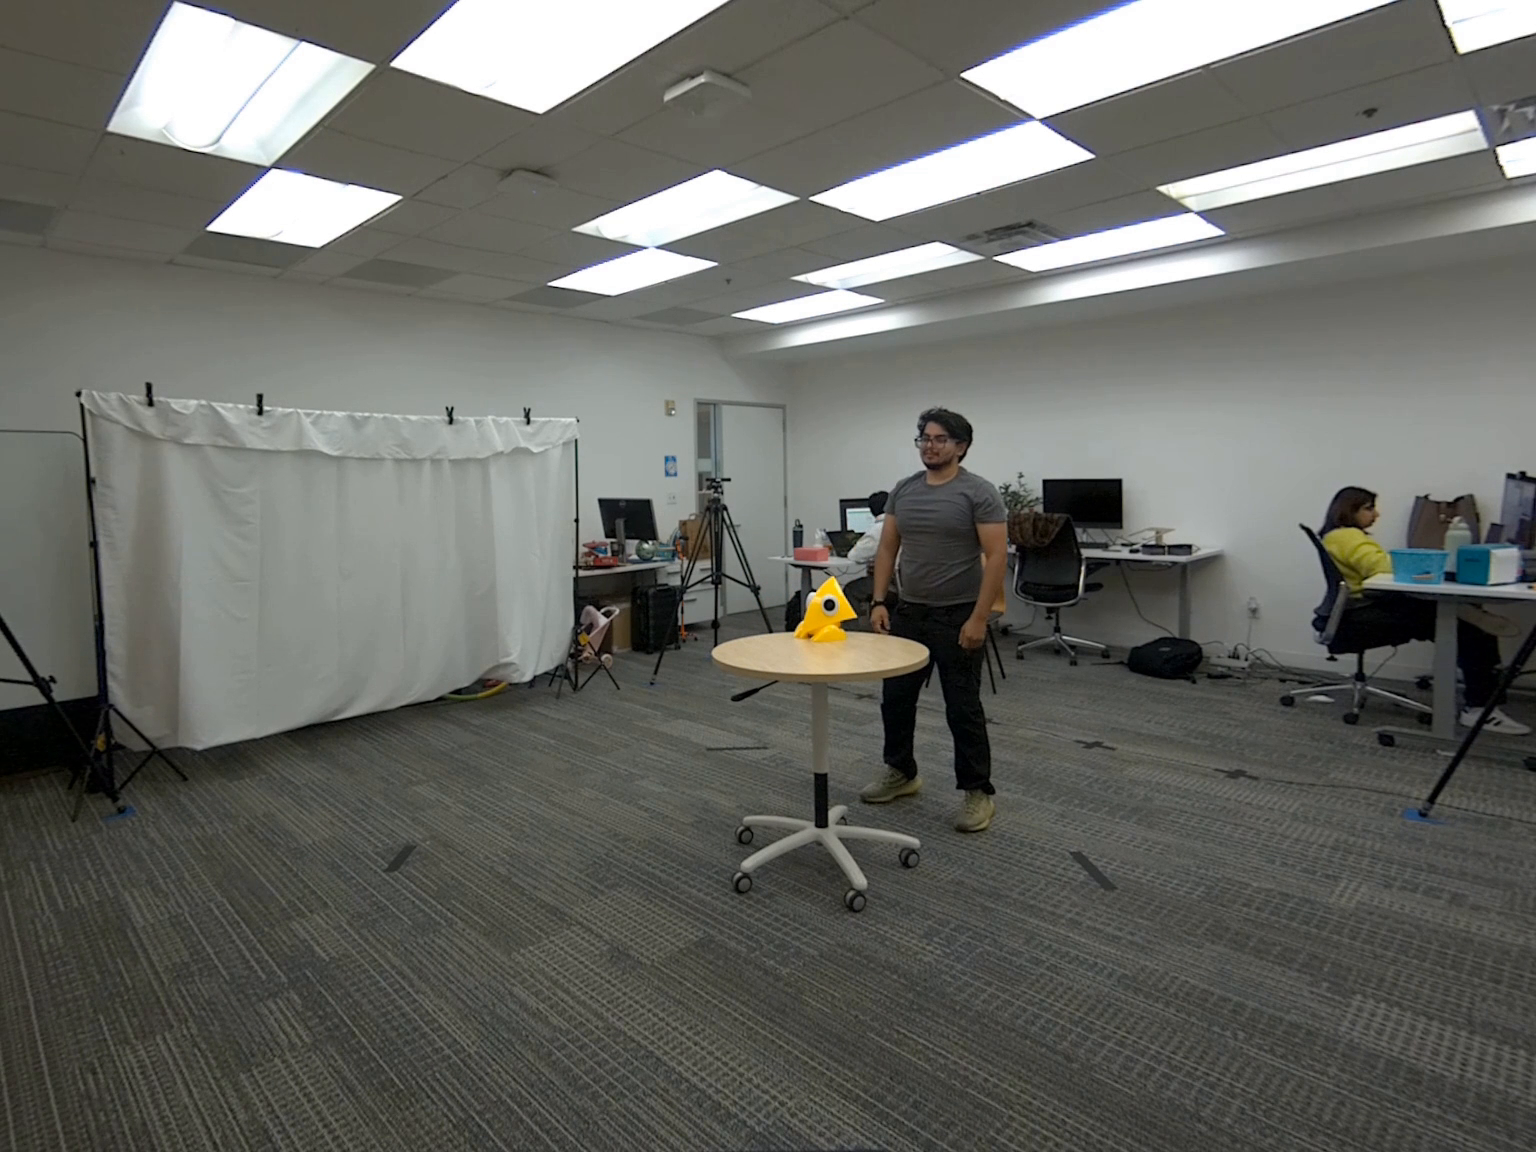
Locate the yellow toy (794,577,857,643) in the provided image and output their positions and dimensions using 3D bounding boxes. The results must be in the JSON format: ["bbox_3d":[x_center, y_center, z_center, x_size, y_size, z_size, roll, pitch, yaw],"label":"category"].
[{"bbox_3d":[0.213,0.121,3.298,0.188,0.230,0.210,-4,5,-32],"label":"yellow toy"}]
